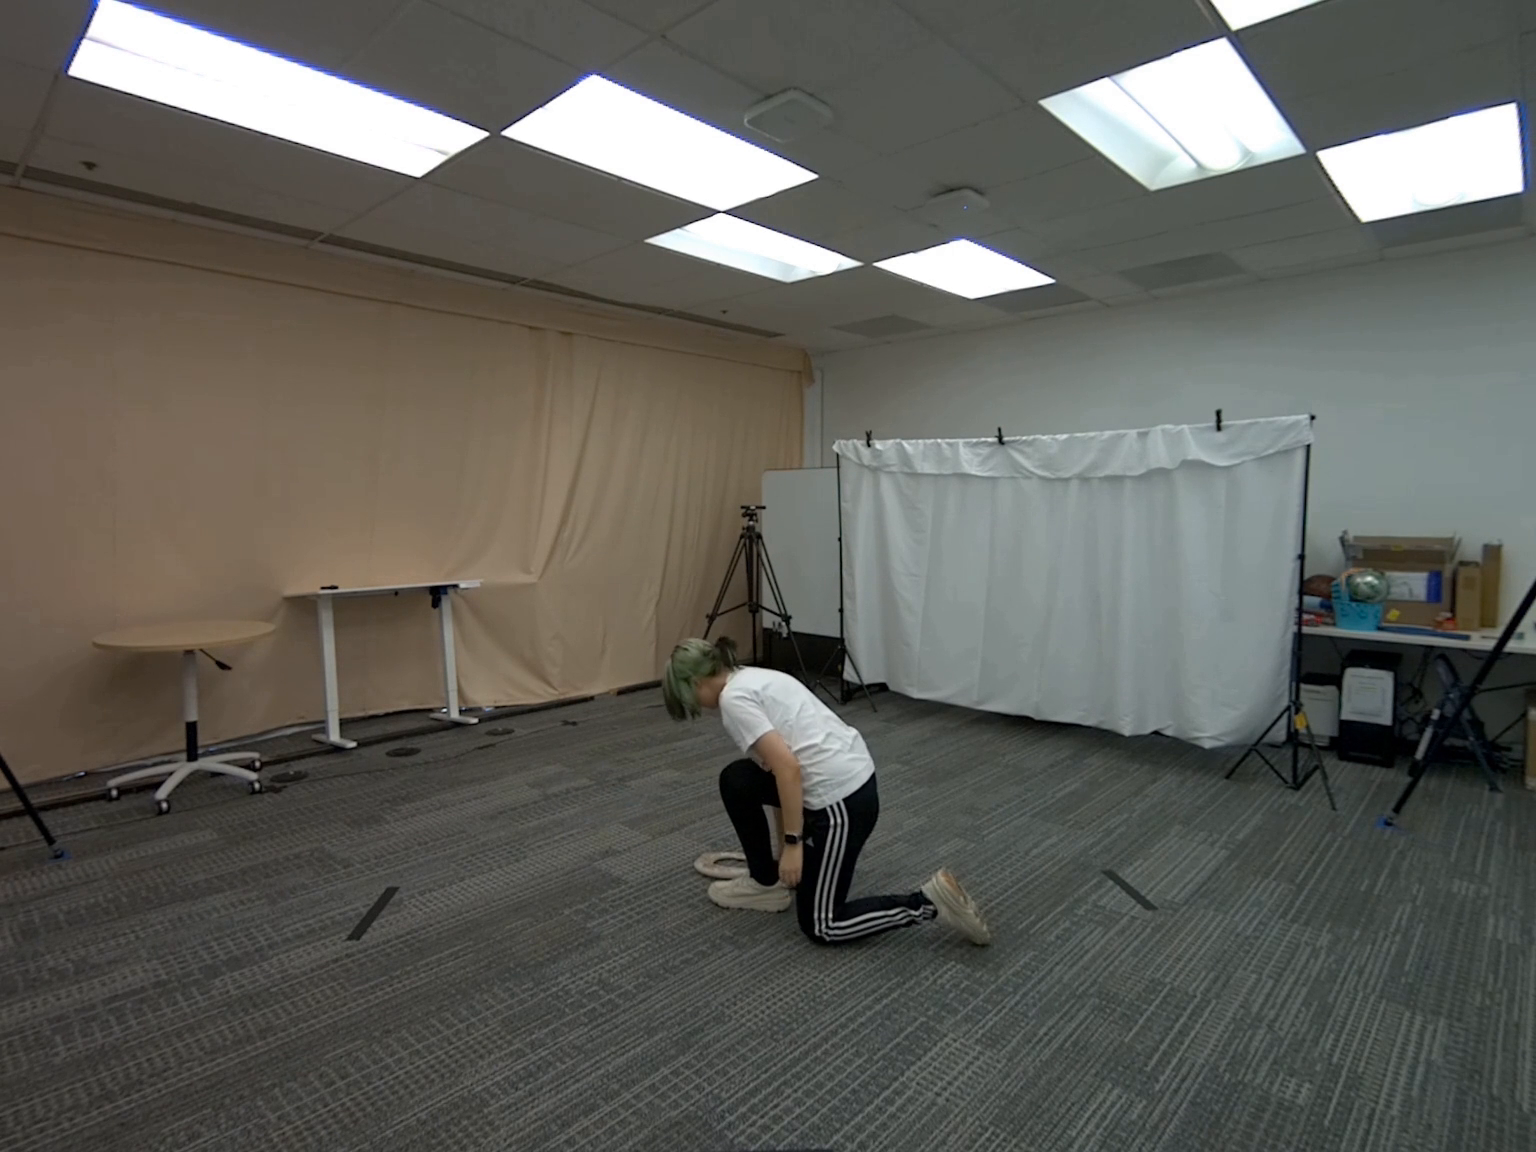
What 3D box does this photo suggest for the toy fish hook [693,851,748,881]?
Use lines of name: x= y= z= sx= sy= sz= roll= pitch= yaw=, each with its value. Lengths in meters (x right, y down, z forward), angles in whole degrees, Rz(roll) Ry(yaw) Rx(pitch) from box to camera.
toy fish hook: x=-0.028 y=1.102 z=3.181 sx=0.518 sy=0.048 sz=0.220 roll=2 pitch=6 yaw=21
